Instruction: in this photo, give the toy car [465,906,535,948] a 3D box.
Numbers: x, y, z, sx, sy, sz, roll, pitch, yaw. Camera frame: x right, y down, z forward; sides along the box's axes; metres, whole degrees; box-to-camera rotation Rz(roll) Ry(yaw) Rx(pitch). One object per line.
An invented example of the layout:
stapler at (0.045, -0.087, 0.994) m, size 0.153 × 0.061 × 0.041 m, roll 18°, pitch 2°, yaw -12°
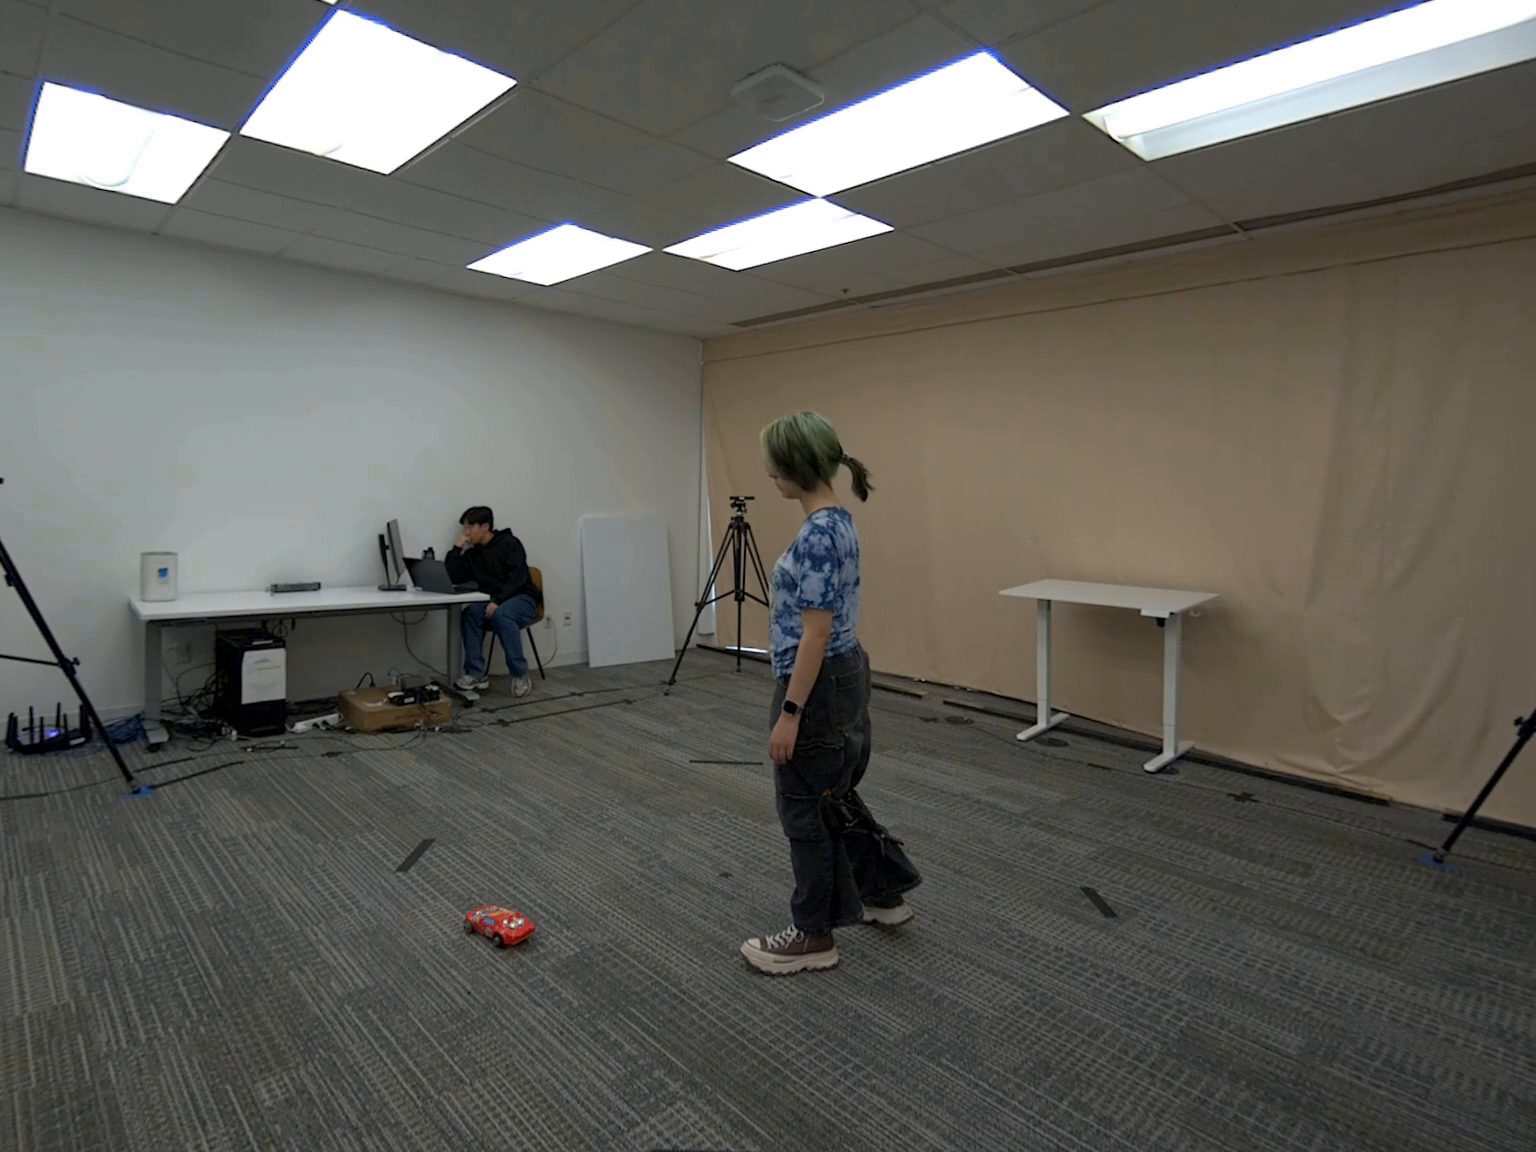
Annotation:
toy car at (-0.841, 1.096, 2.646) m, size 0.259 × 0.083 × 0.127 m, roll -9°, pitch -2°, yaw 35°
